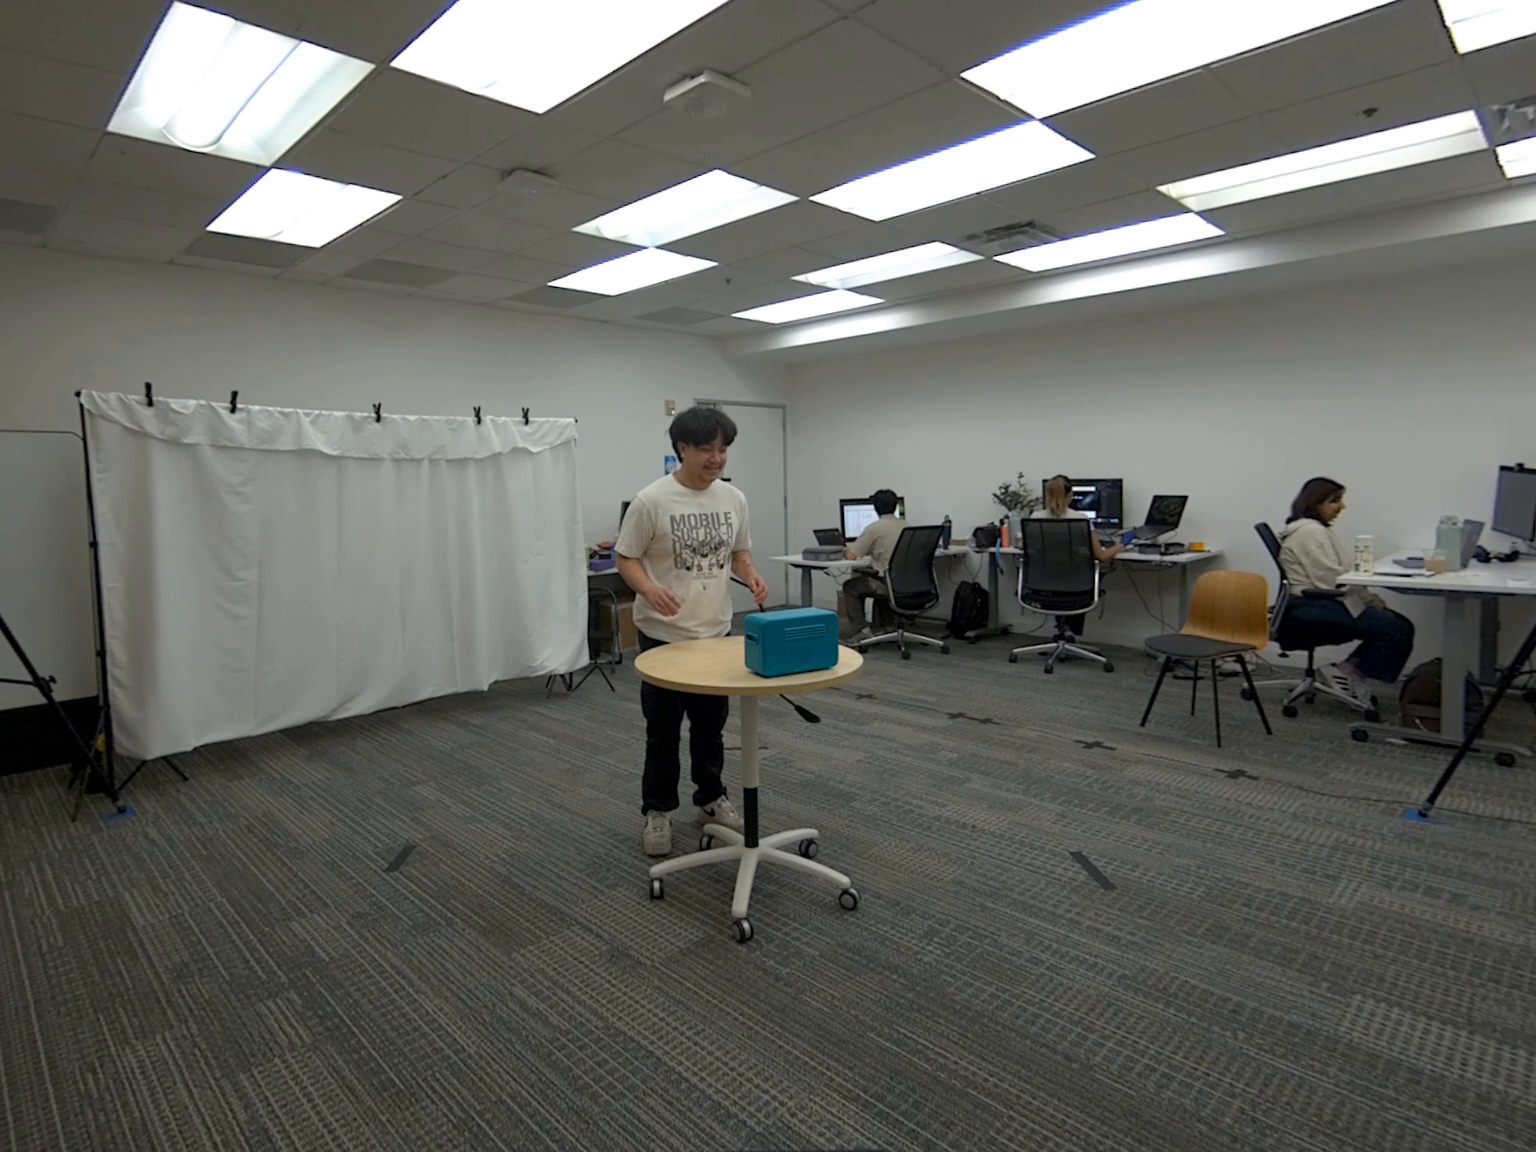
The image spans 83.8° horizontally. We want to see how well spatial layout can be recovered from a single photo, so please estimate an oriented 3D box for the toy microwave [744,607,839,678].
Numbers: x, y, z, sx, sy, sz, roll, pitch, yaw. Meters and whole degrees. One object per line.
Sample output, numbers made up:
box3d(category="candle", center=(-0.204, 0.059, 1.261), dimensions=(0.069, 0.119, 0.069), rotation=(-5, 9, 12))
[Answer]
box3d(category="toy microwave", center=(0.074, 0.203, 2.698), dimensions=(0.280, 0.183, 0.156), rotation=(-4, 6, -28))
